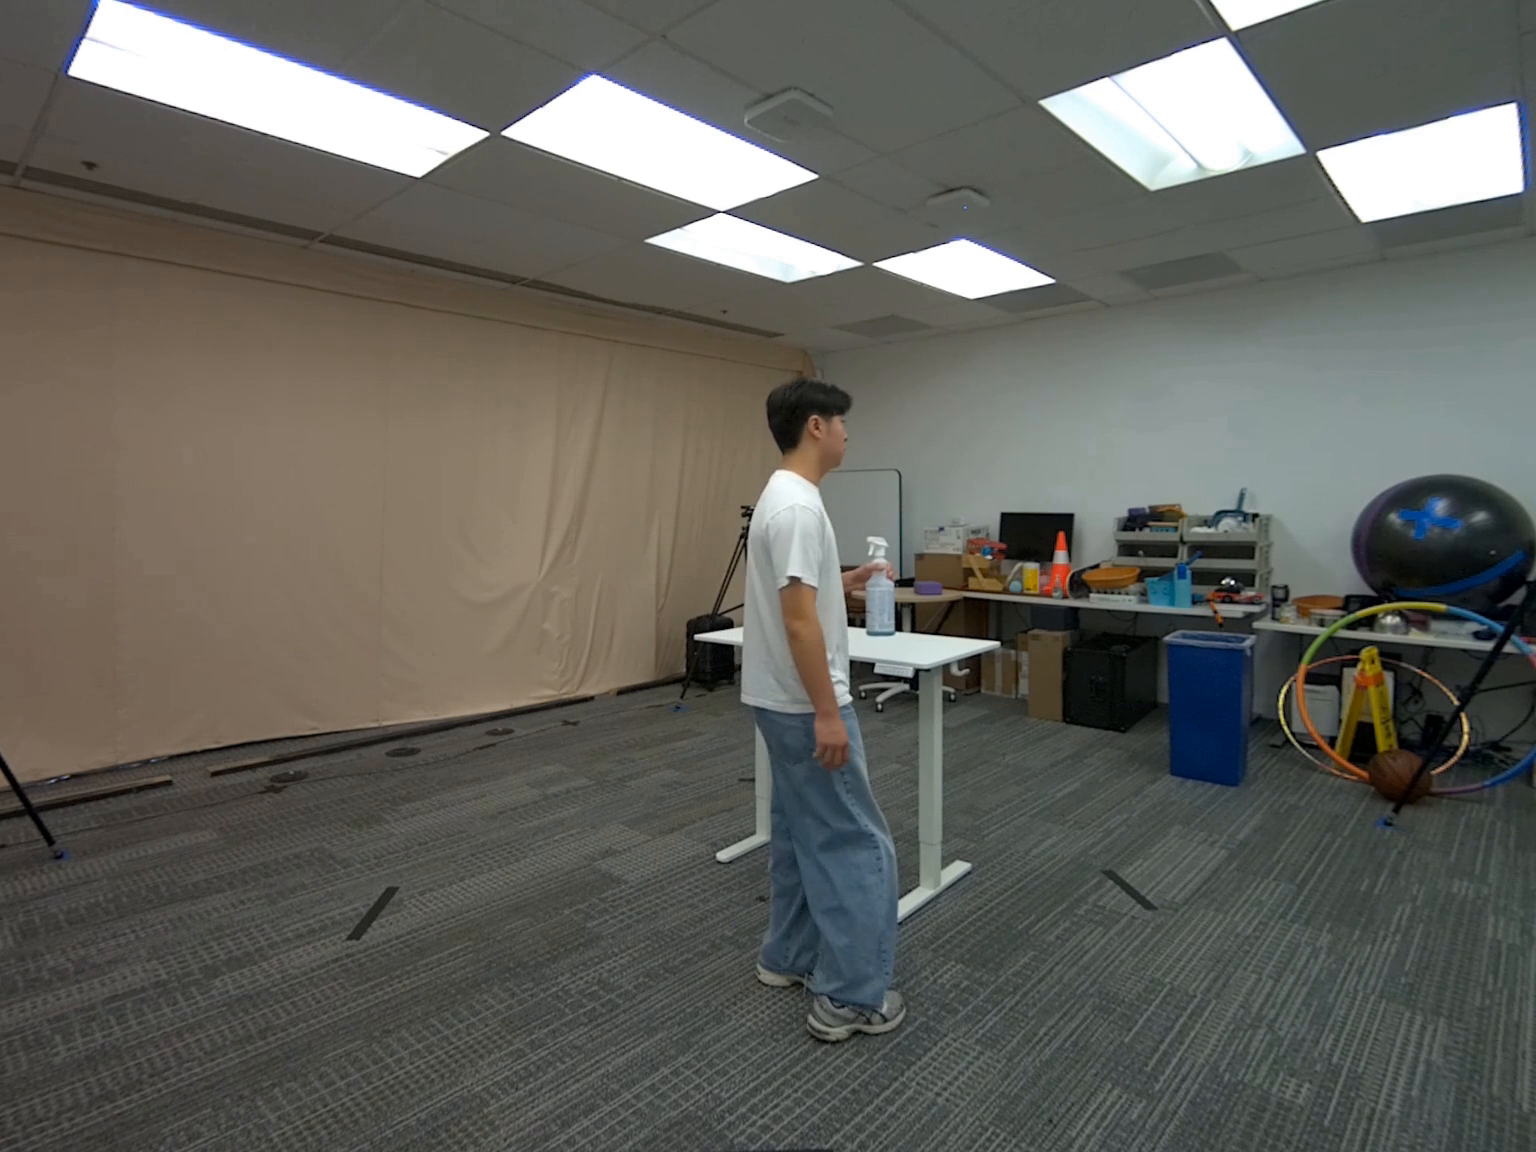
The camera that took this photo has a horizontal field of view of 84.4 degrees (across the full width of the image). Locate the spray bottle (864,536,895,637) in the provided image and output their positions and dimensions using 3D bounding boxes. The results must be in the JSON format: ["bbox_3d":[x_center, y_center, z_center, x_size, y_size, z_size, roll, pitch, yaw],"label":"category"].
[{"bbox_3d":[0.331,0.036,2.519,0.088,0.297,0.088,-2,-1,-18],"label":"spray bottle"}]
